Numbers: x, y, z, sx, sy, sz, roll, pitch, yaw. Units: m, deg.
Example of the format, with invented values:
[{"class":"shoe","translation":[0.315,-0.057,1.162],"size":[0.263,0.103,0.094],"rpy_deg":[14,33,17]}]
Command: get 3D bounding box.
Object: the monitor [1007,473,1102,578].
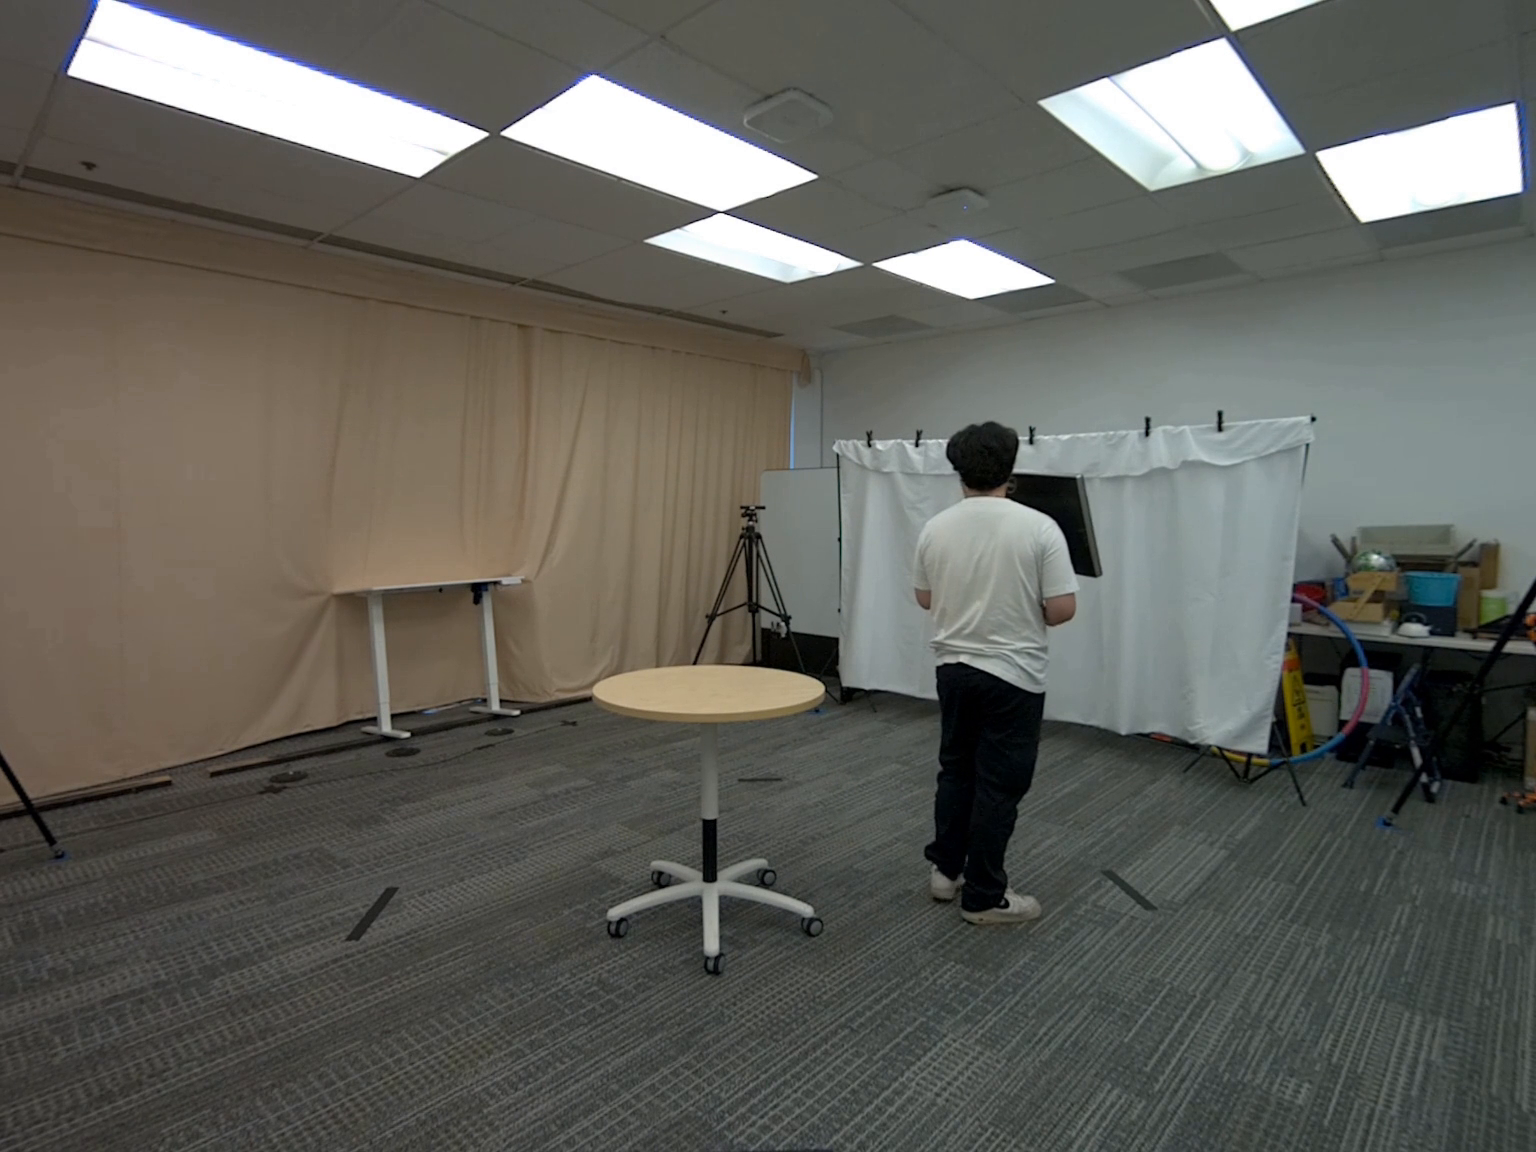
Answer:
[{"class":"monitor","translation":[0.883,-0.101,2.979],"size":[0.206,0.548,0.582],"rpy_deg":[-17,16,-25]}]
